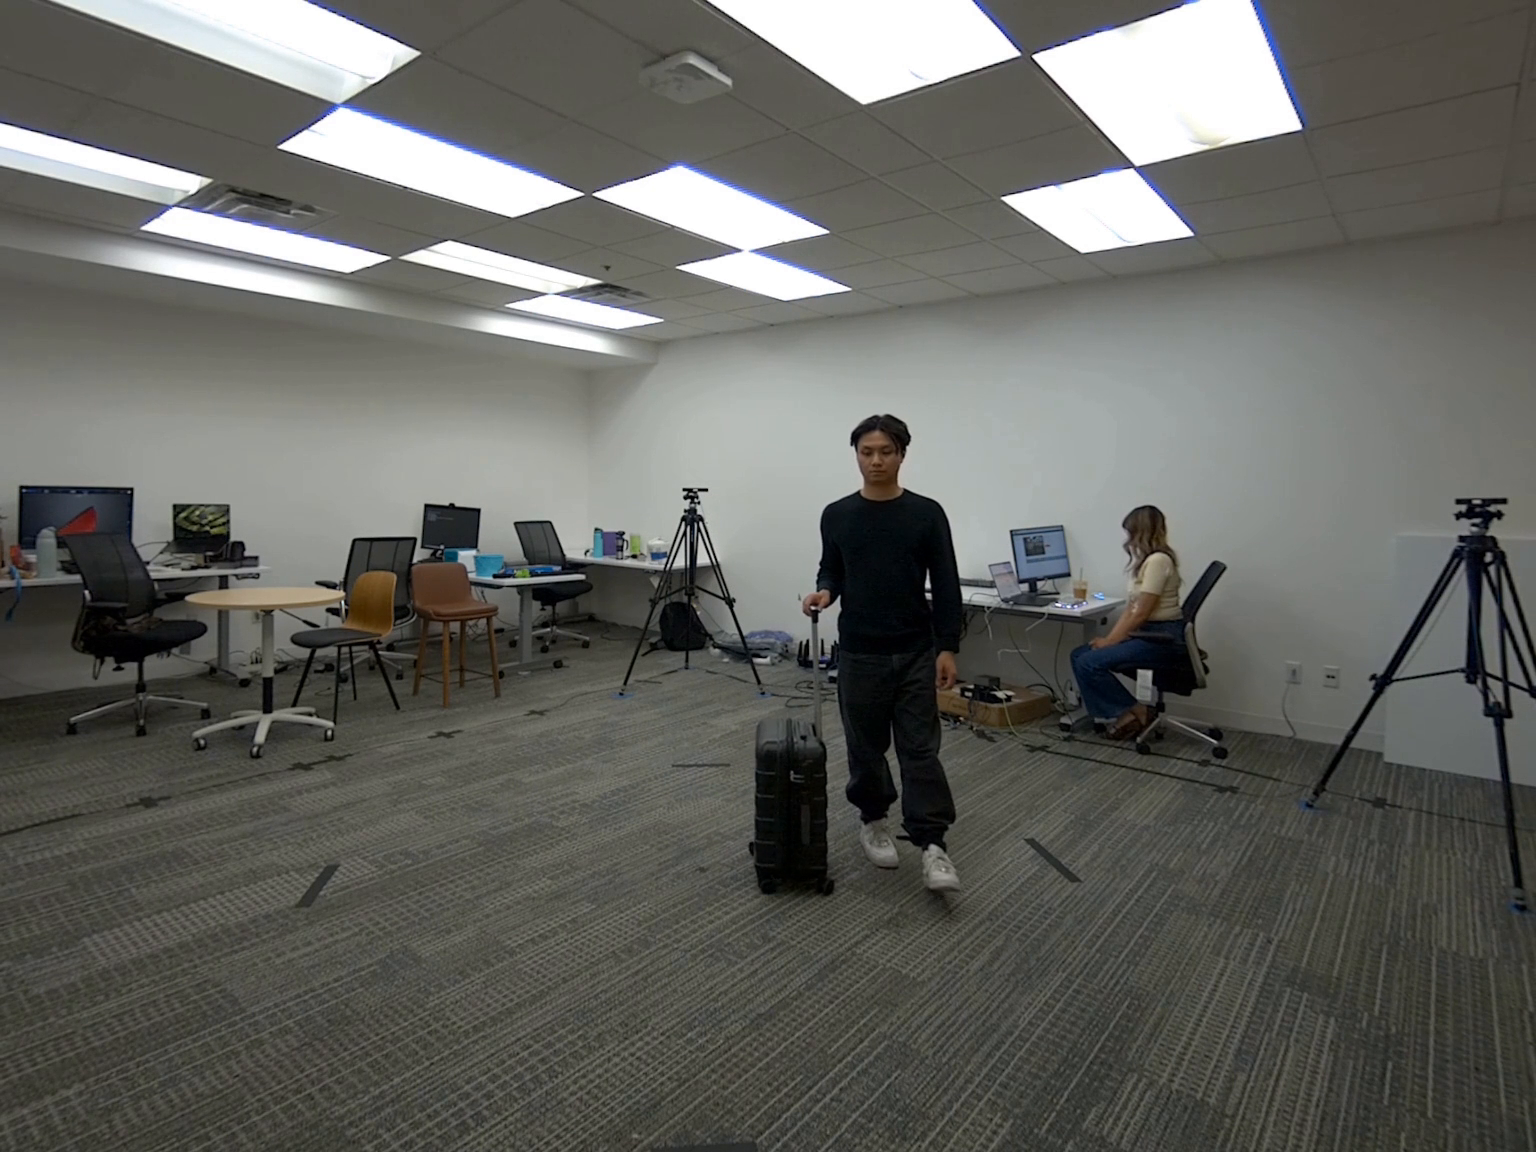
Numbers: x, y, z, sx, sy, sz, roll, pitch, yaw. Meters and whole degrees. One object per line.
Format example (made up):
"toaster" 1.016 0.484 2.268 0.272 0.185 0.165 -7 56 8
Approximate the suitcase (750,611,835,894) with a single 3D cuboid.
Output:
"suitcase" 0.066 0.604 3.048 0.257 0.974 0.385 -2 4 1
